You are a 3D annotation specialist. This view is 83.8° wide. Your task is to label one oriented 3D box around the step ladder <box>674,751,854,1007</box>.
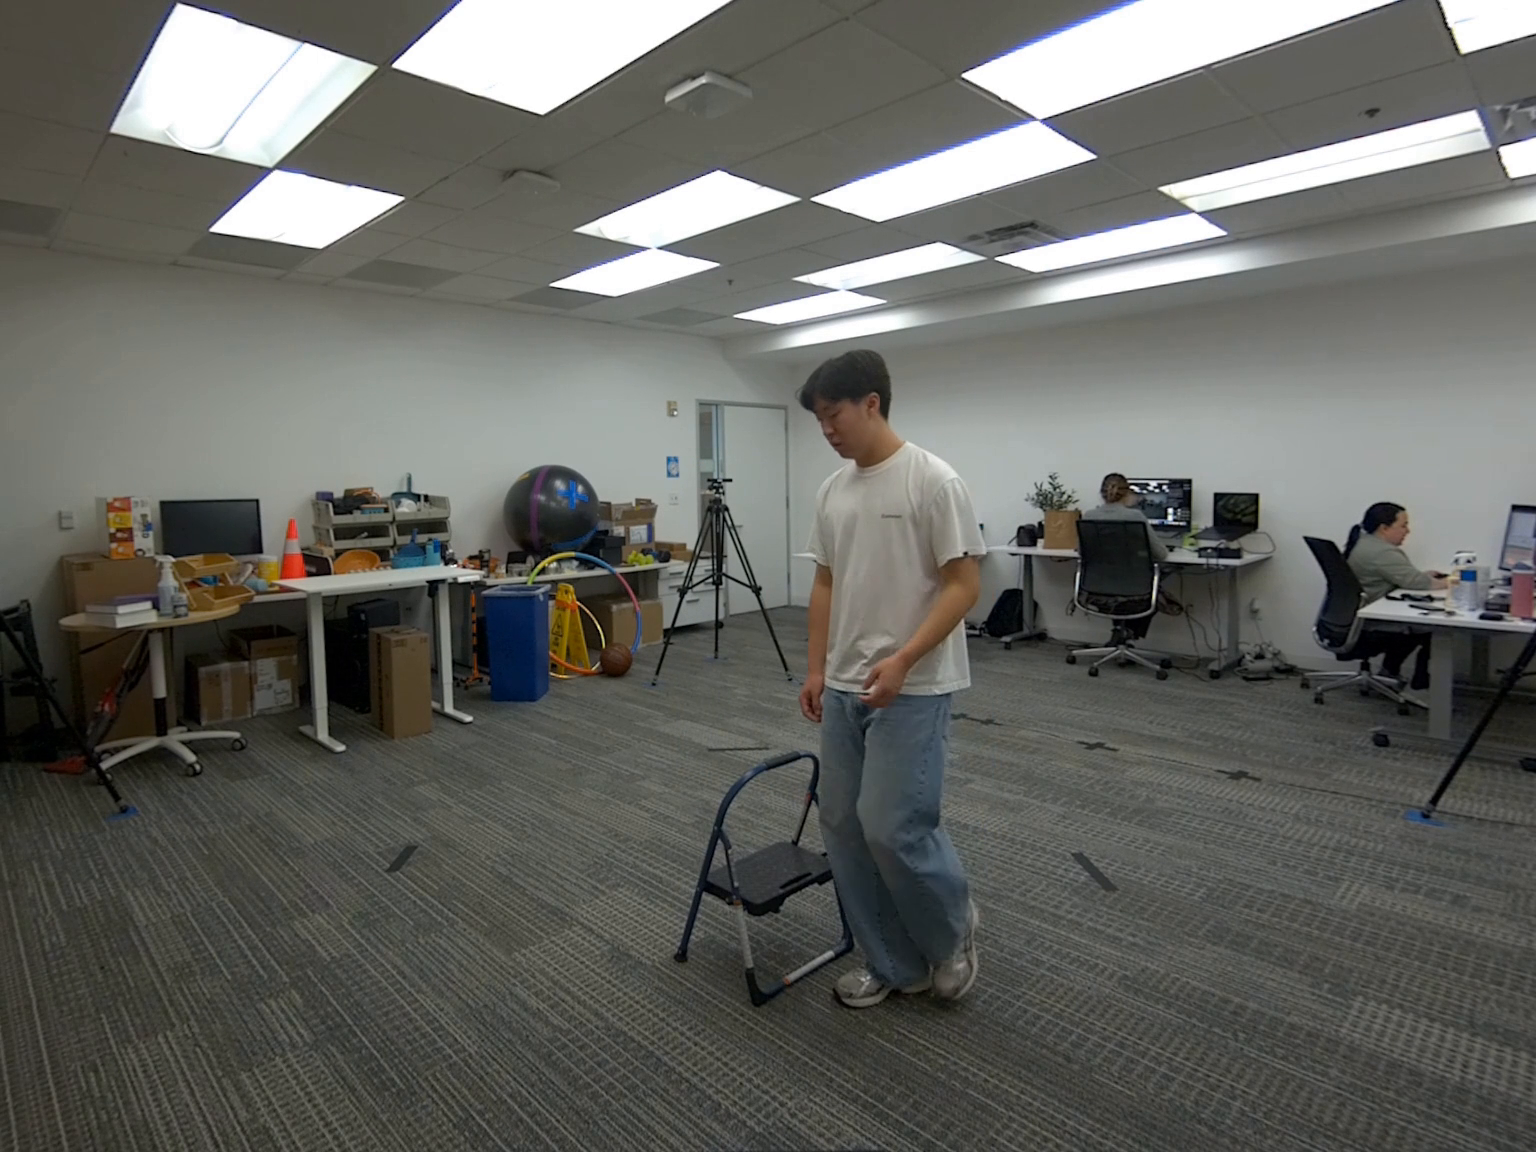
[{"bbox_3d":[-0.009,0.811,2.503,0.419,0.604,0.360,-5,6,-44],"label":"step ladder"}]
